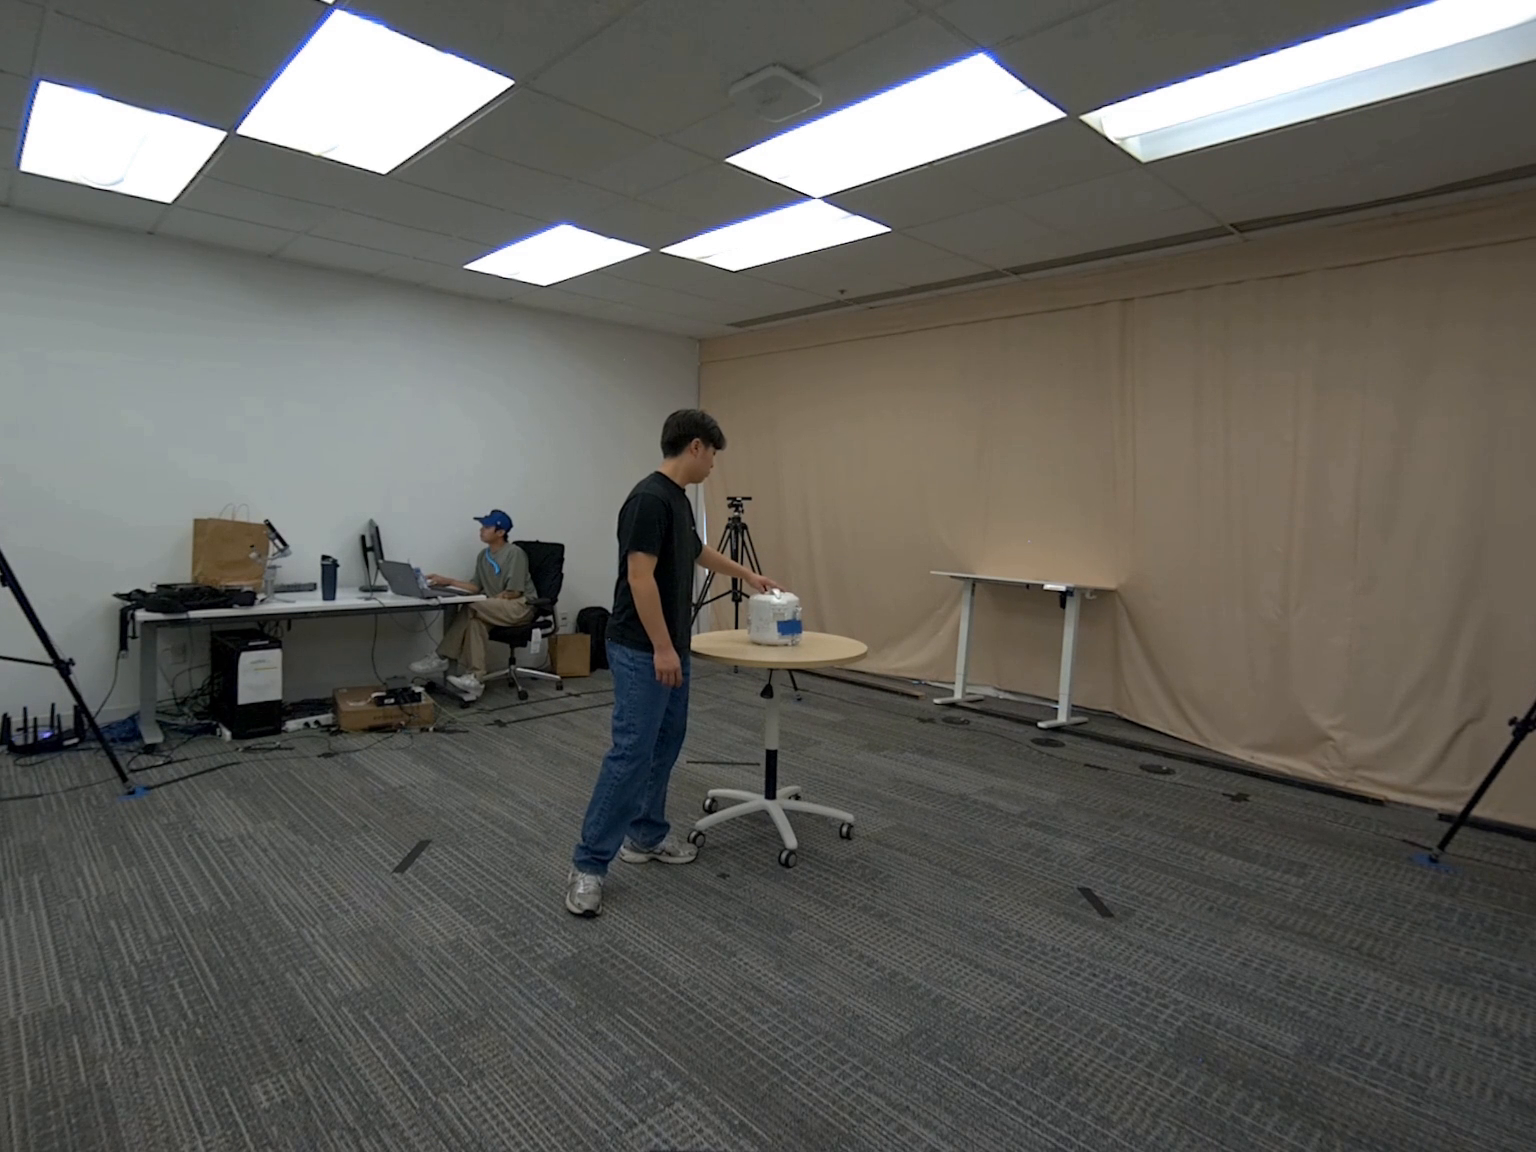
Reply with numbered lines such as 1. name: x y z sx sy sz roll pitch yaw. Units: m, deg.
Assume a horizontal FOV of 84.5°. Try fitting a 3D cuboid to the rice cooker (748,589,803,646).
1. rice cooker: 0.019 0.165 3.516 0.216 0.232 0.222 0 3 -9
